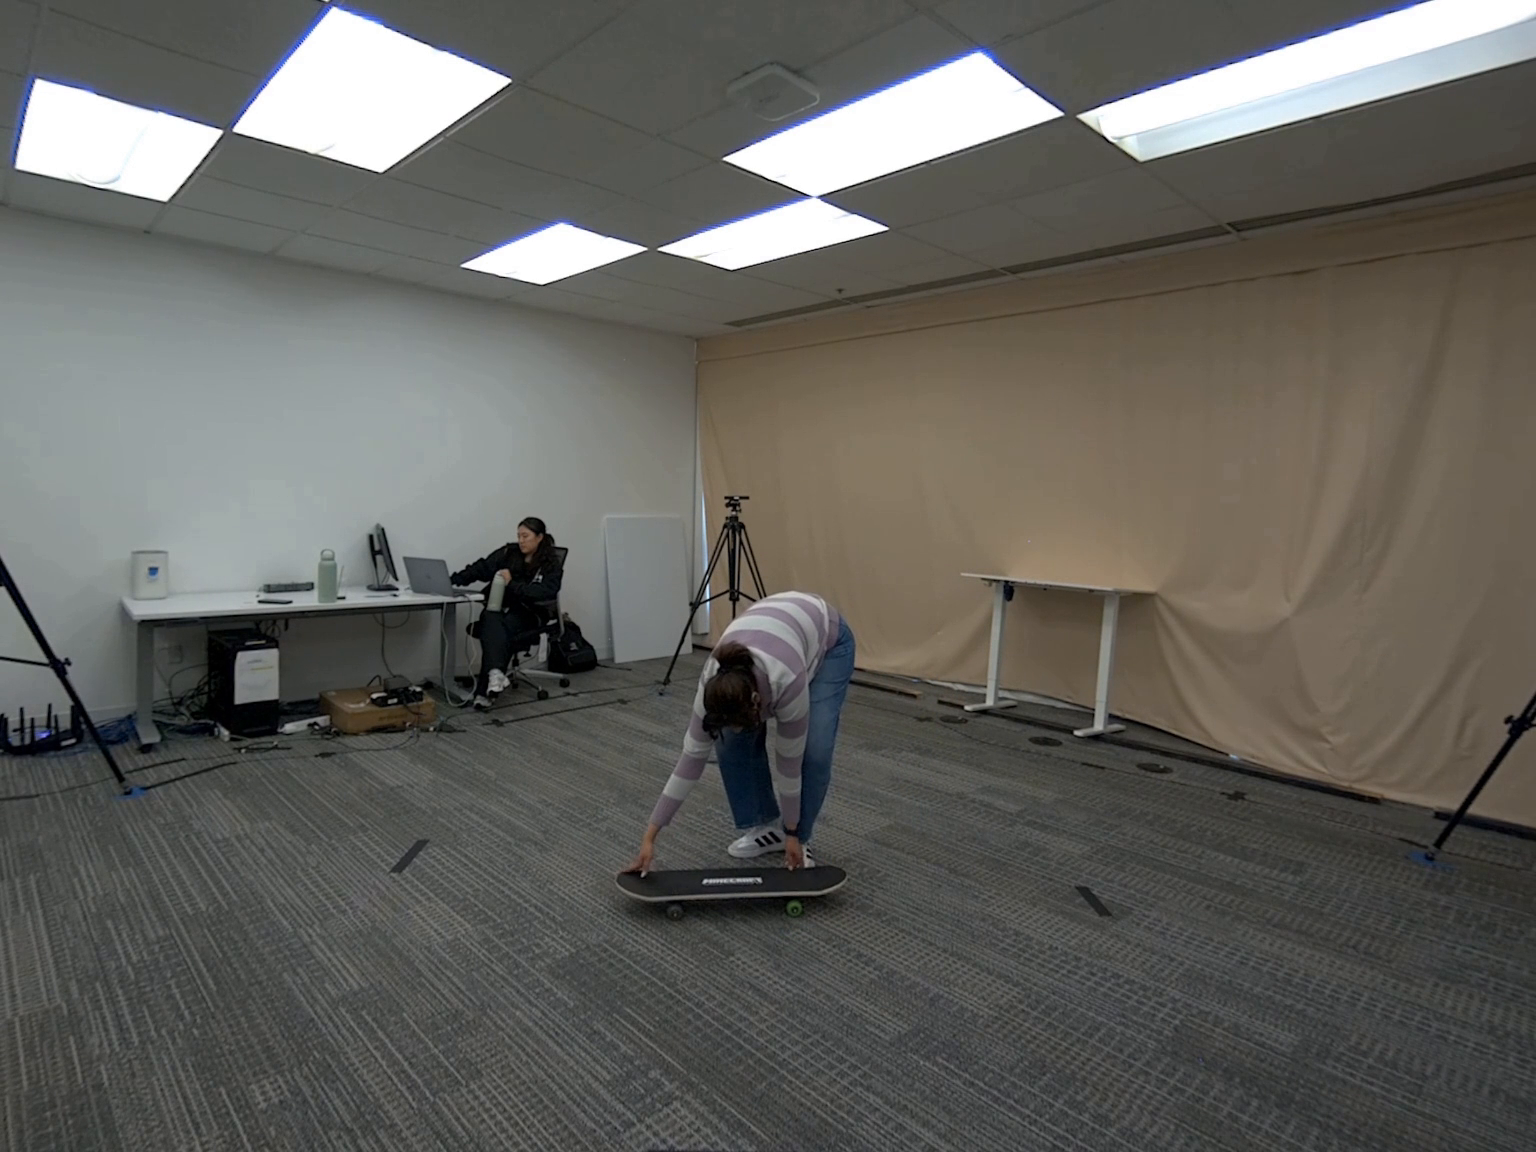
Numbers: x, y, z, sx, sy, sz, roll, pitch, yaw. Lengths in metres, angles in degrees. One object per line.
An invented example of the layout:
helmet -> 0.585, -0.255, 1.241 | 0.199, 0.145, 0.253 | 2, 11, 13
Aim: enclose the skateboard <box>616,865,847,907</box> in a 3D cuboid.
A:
skateboard -> -0.130, 1.064, 2.859 | 0.781, 0.110, 0.195 | 0, 5, -7
